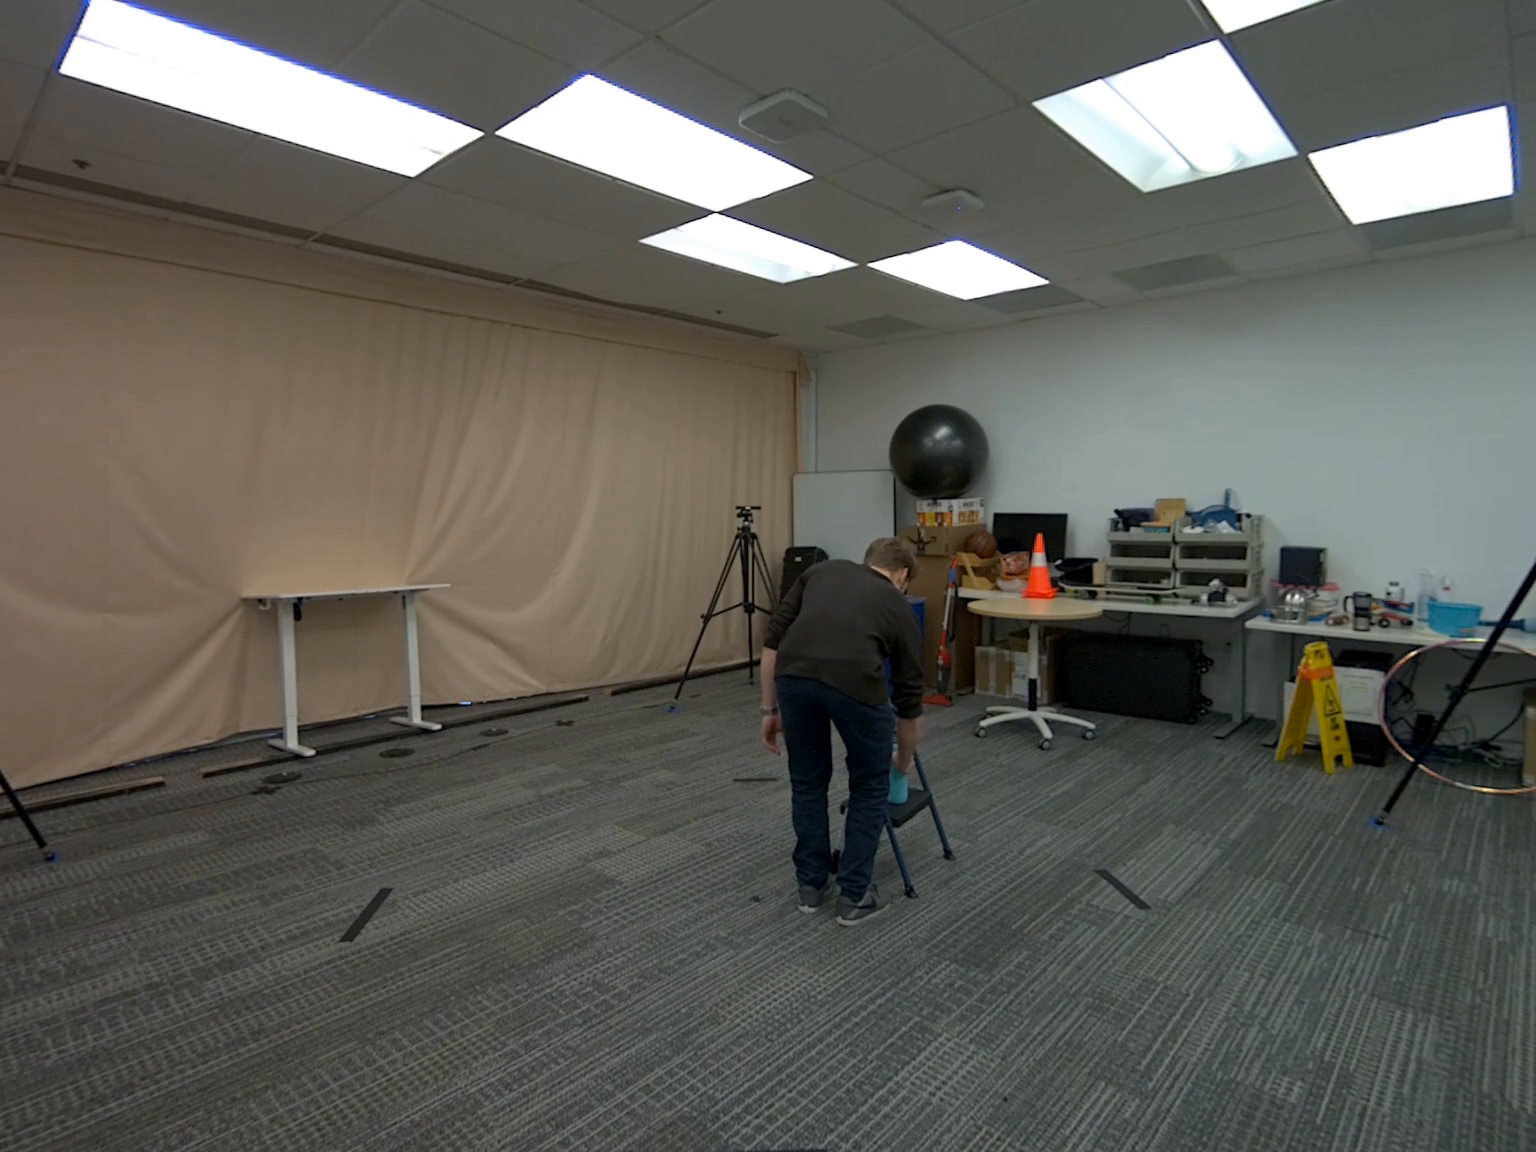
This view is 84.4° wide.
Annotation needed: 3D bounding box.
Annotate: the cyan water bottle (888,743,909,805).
[{"bbox_3d":[0.507,0.723,3.232,0.092,0.283,0.092,4,3,-2],"label":"cyan water bottle"}]
